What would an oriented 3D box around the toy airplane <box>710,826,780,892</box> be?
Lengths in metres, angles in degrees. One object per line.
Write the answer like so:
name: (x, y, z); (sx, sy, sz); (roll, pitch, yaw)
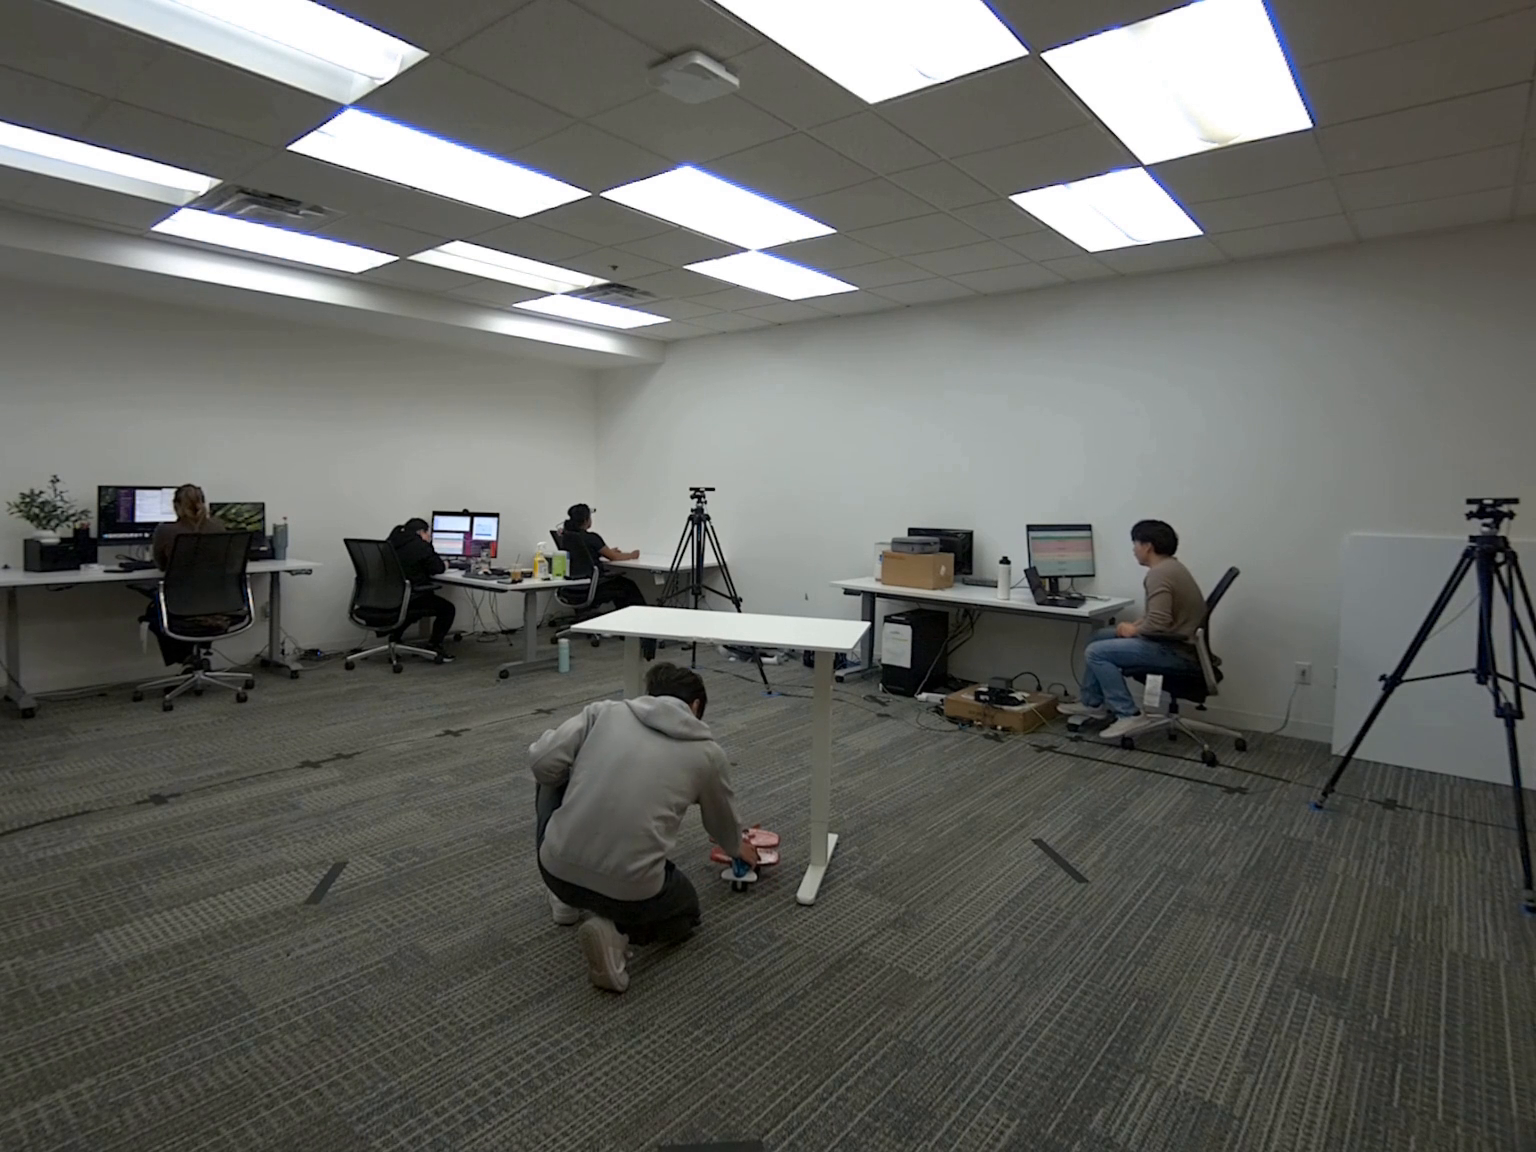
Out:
toy airplane: (-0.079, 1.006, 3.033); (0.246, 0.156, 0.265); (-2, 4, -22)
